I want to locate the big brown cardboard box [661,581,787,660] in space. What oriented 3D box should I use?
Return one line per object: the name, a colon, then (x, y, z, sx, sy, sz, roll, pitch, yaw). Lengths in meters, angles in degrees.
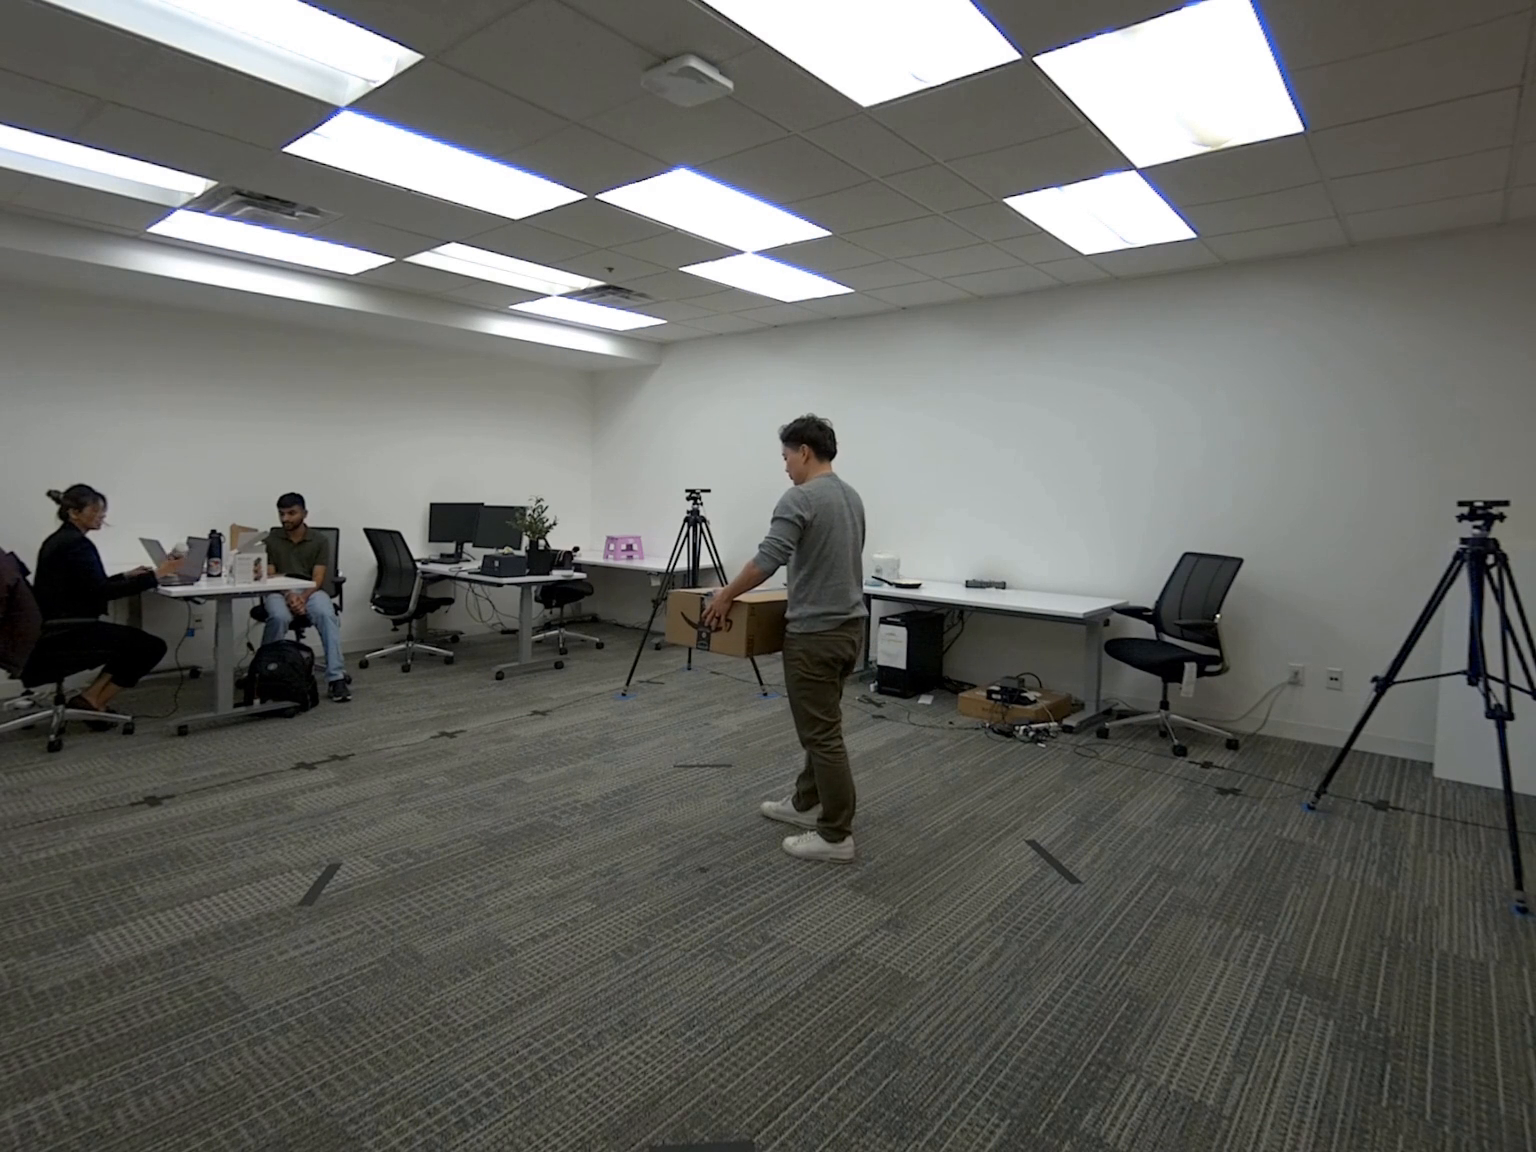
big brown cardboard box: (-0.098, 0.167, 3.562, 0.431, 0.232, 0.571, 6, 6, 36)
